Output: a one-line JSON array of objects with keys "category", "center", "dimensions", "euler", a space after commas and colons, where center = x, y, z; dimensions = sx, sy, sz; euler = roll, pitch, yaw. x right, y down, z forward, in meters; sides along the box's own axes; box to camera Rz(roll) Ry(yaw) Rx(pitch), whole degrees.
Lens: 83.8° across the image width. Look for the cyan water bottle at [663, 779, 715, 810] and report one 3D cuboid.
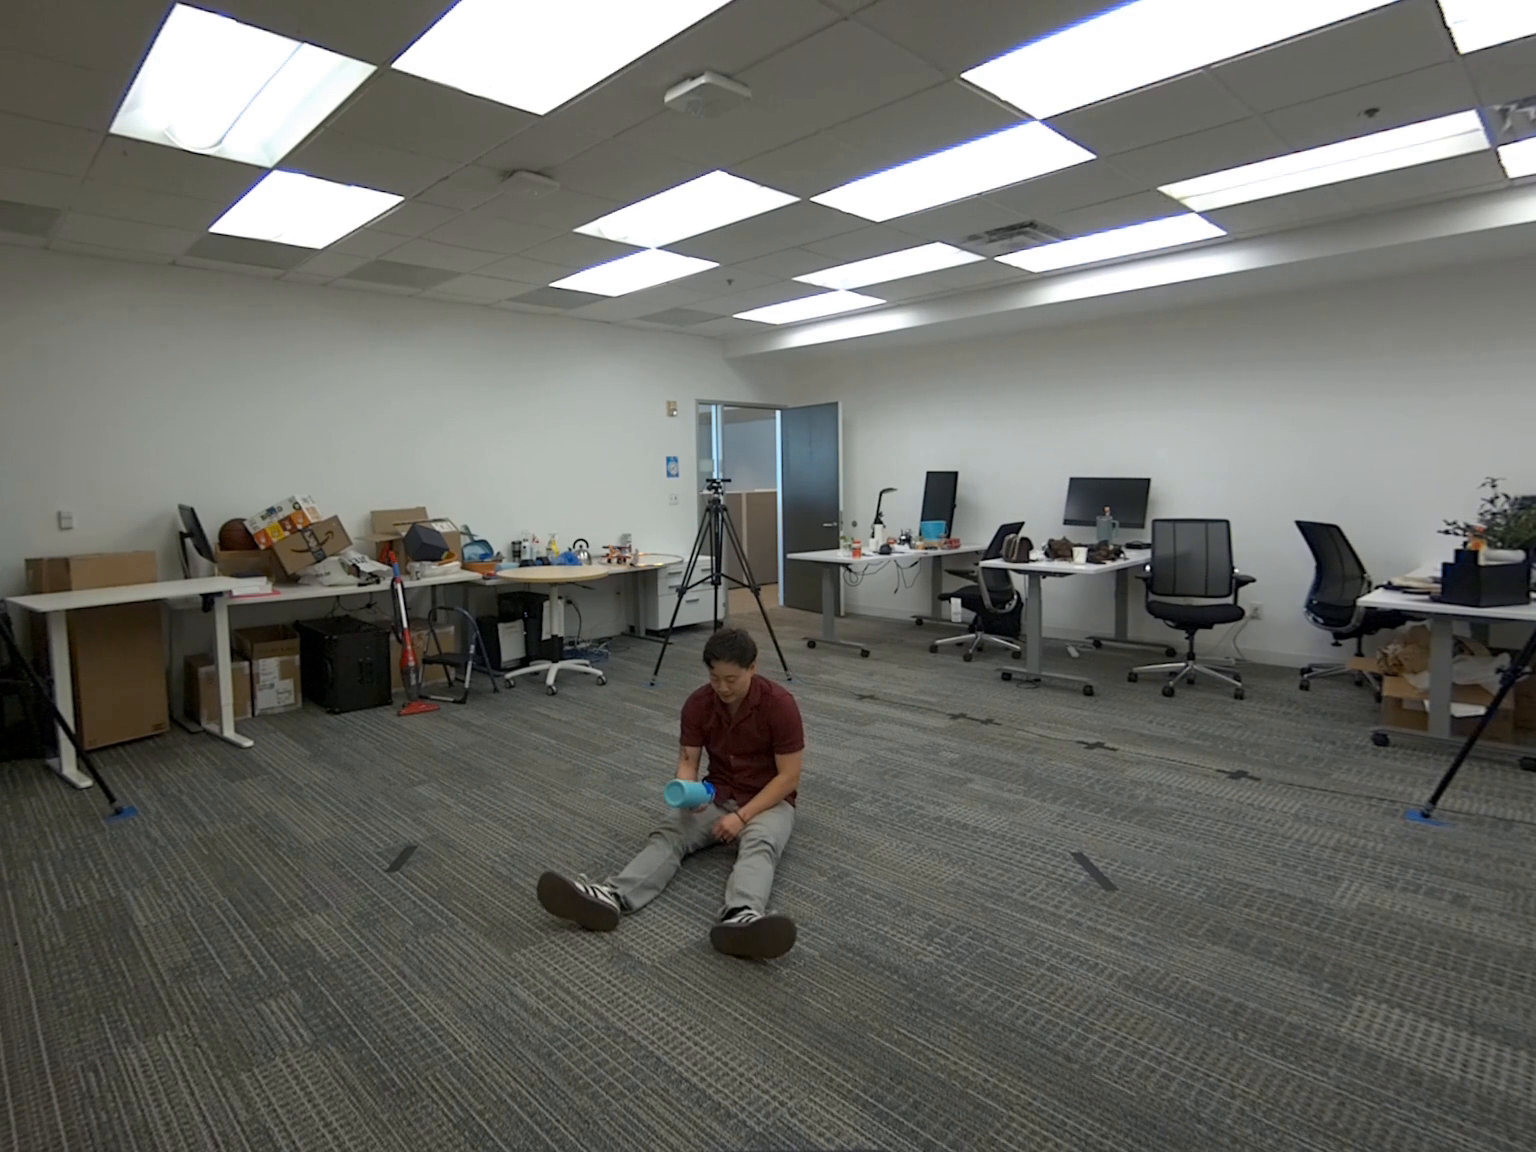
[{"category": "cyan water bottle", "center": [-0.274, 0.785, 3.034], "dimensions": [0.094, 0.093, 0.274], "euler": [1, -14, 22]}]
